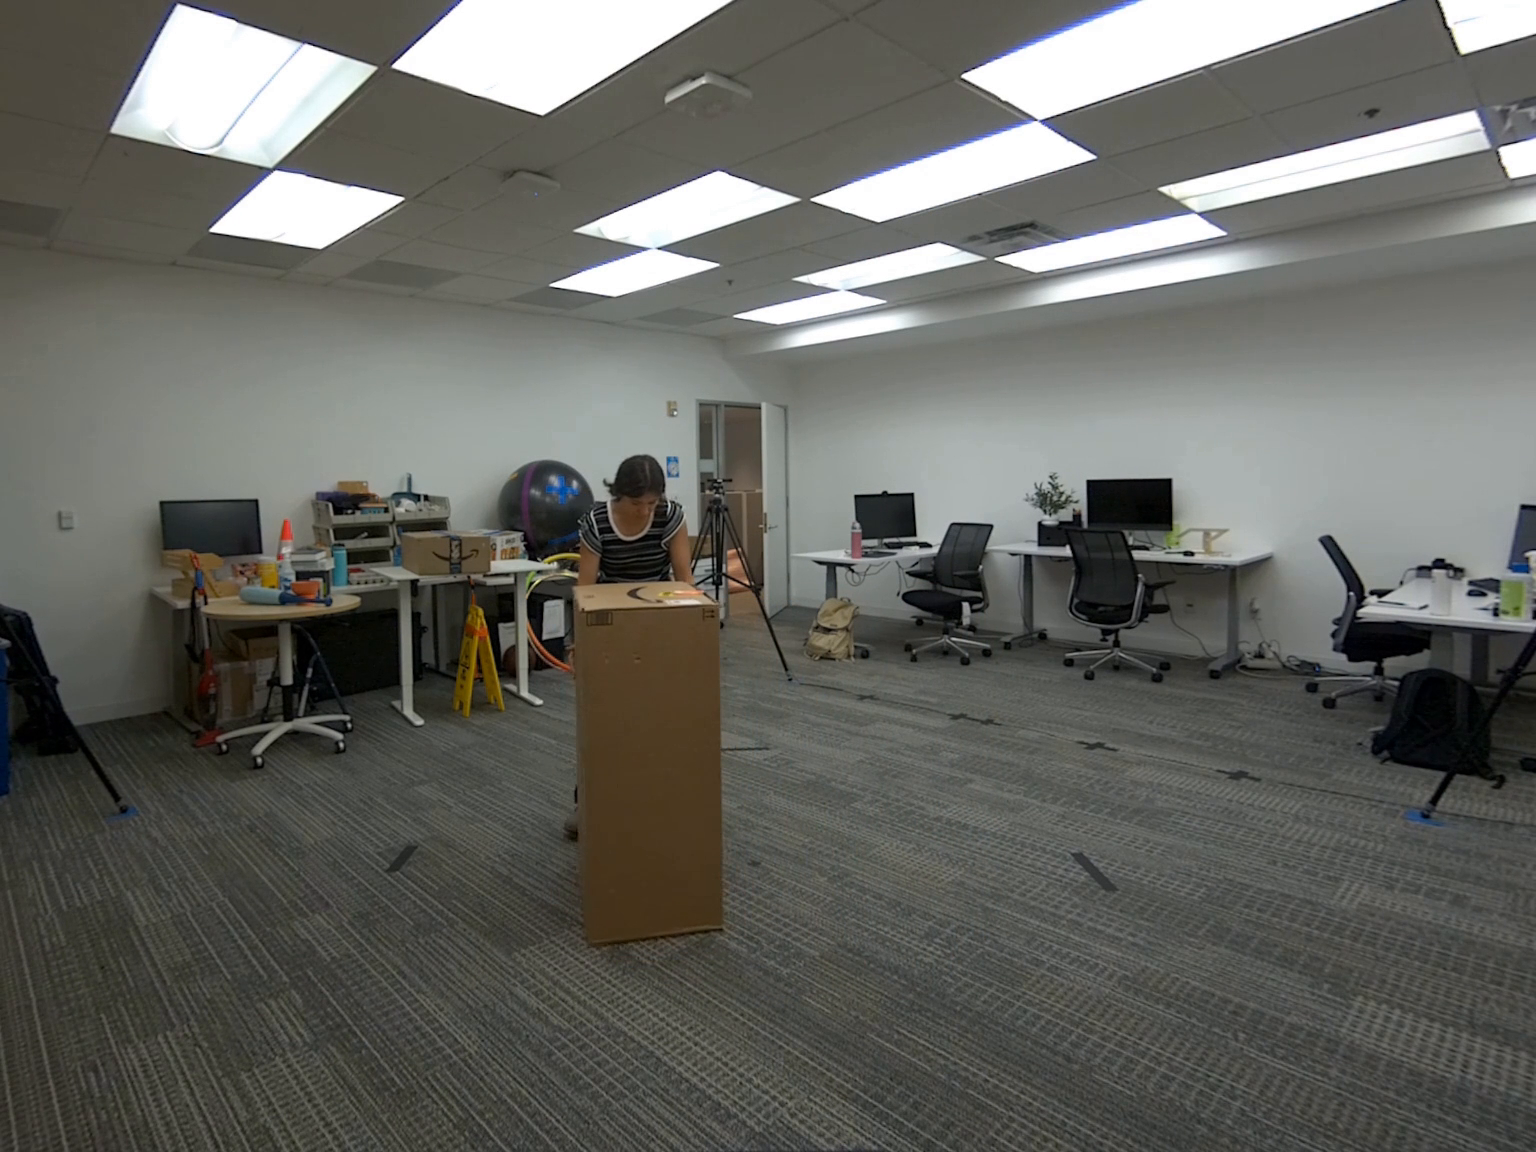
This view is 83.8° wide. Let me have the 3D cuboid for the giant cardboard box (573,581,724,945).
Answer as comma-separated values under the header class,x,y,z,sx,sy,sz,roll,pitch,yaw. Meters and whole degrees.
class,x,y,z,sx,sy,sz,roll,pitch,yaw
giant cardboard box,-0.409,0.569,2.856,0.420,1.022,0.588,-2,4,-15
